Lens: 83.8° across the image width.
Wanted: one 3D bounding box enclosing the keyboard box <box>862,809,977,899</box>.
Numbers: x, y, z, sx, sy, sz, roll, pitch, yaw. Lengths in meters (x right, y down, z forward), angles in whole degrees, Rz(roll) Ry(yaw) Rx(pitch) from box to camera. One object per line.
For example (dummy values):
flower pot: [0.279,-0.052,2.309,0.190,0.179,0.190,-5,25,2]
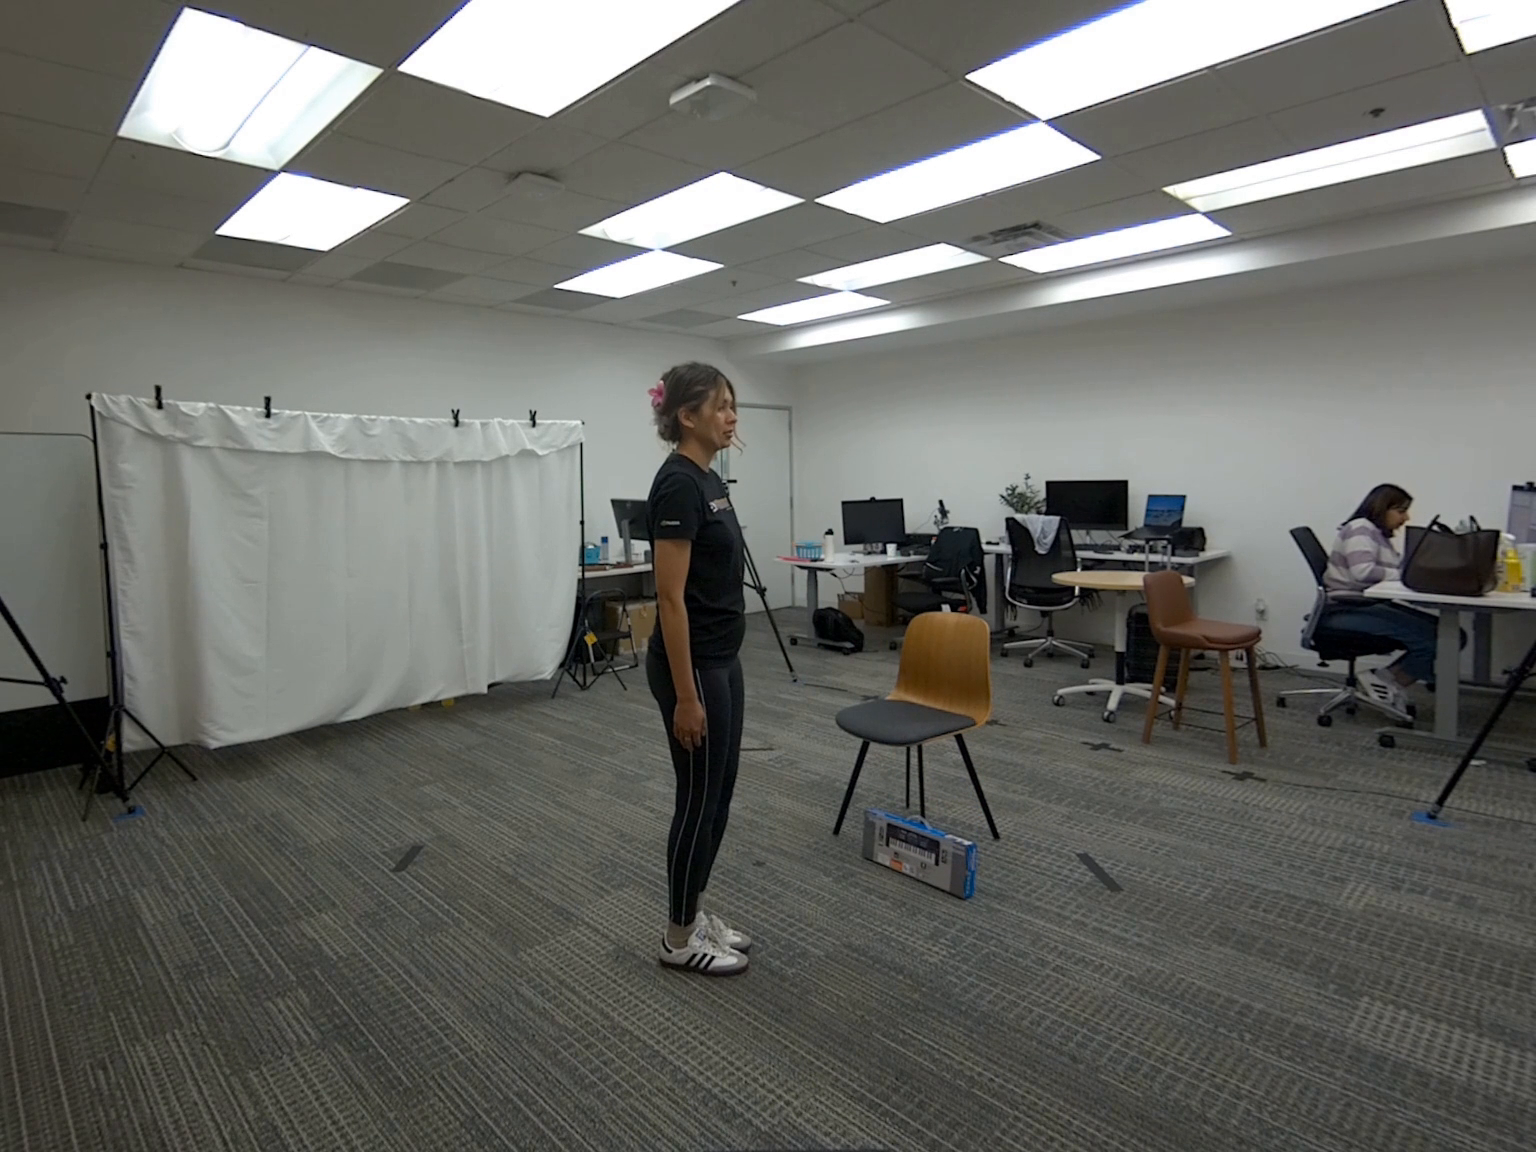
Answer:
keyboard box: [0.524,0.964,2.989,0.057,0.176,0.450,4,0,-42]
